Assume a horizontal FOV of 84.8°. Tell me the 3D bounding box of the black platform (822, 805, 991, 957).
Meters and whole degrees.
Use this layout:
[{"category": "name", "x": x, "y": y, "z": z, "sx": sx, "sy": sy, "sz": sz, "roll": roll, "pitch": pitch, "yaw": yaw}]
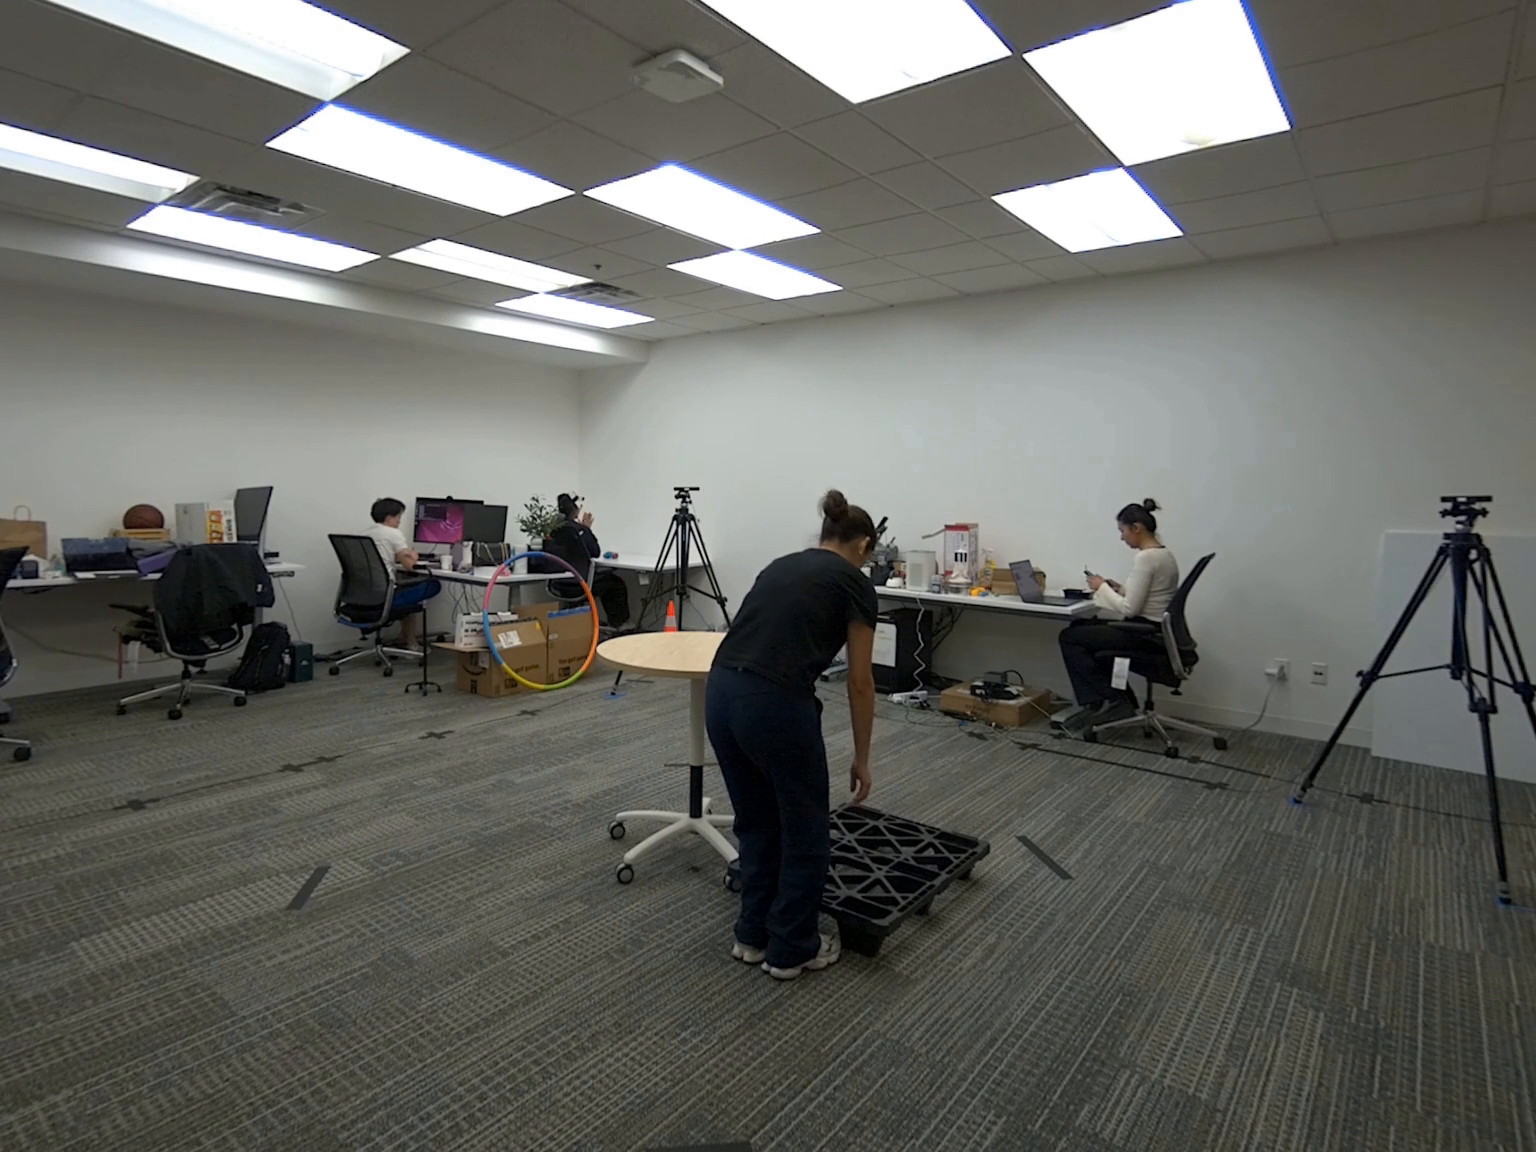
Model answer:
[{"category": "black platform", "x": 0.343, "y": 1.026, "z": 2.964, "sx": 0.625, "sy": 0.143, "sz": 0.782, "roll": 5, "pitch": 7, "yaw": 38}]
